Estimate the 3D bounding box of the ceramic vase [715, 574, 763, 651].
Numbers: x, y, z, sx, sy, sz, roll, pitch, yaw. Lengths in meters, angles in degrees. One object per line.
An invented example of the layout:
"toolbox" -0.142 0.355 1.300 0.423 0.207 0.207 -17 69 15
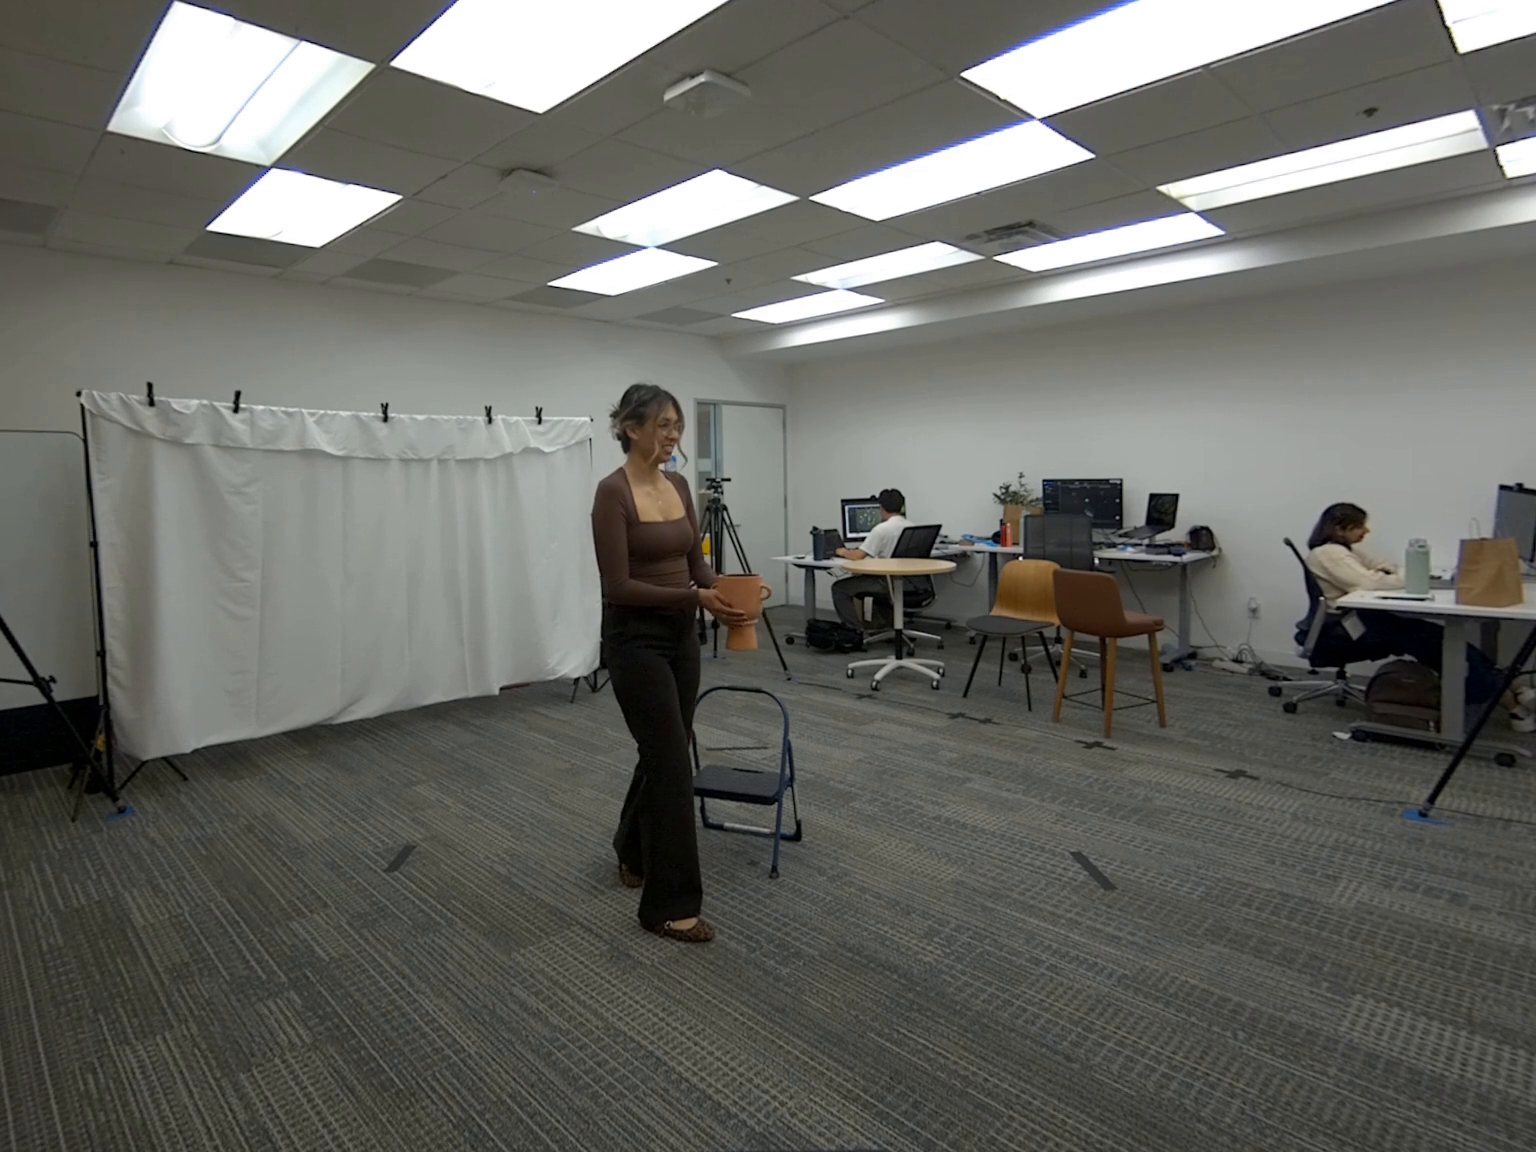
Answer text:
"ceramic vase" -0.083 0.105 2.561 0.131 0.219 0.163 -2 3 -28
